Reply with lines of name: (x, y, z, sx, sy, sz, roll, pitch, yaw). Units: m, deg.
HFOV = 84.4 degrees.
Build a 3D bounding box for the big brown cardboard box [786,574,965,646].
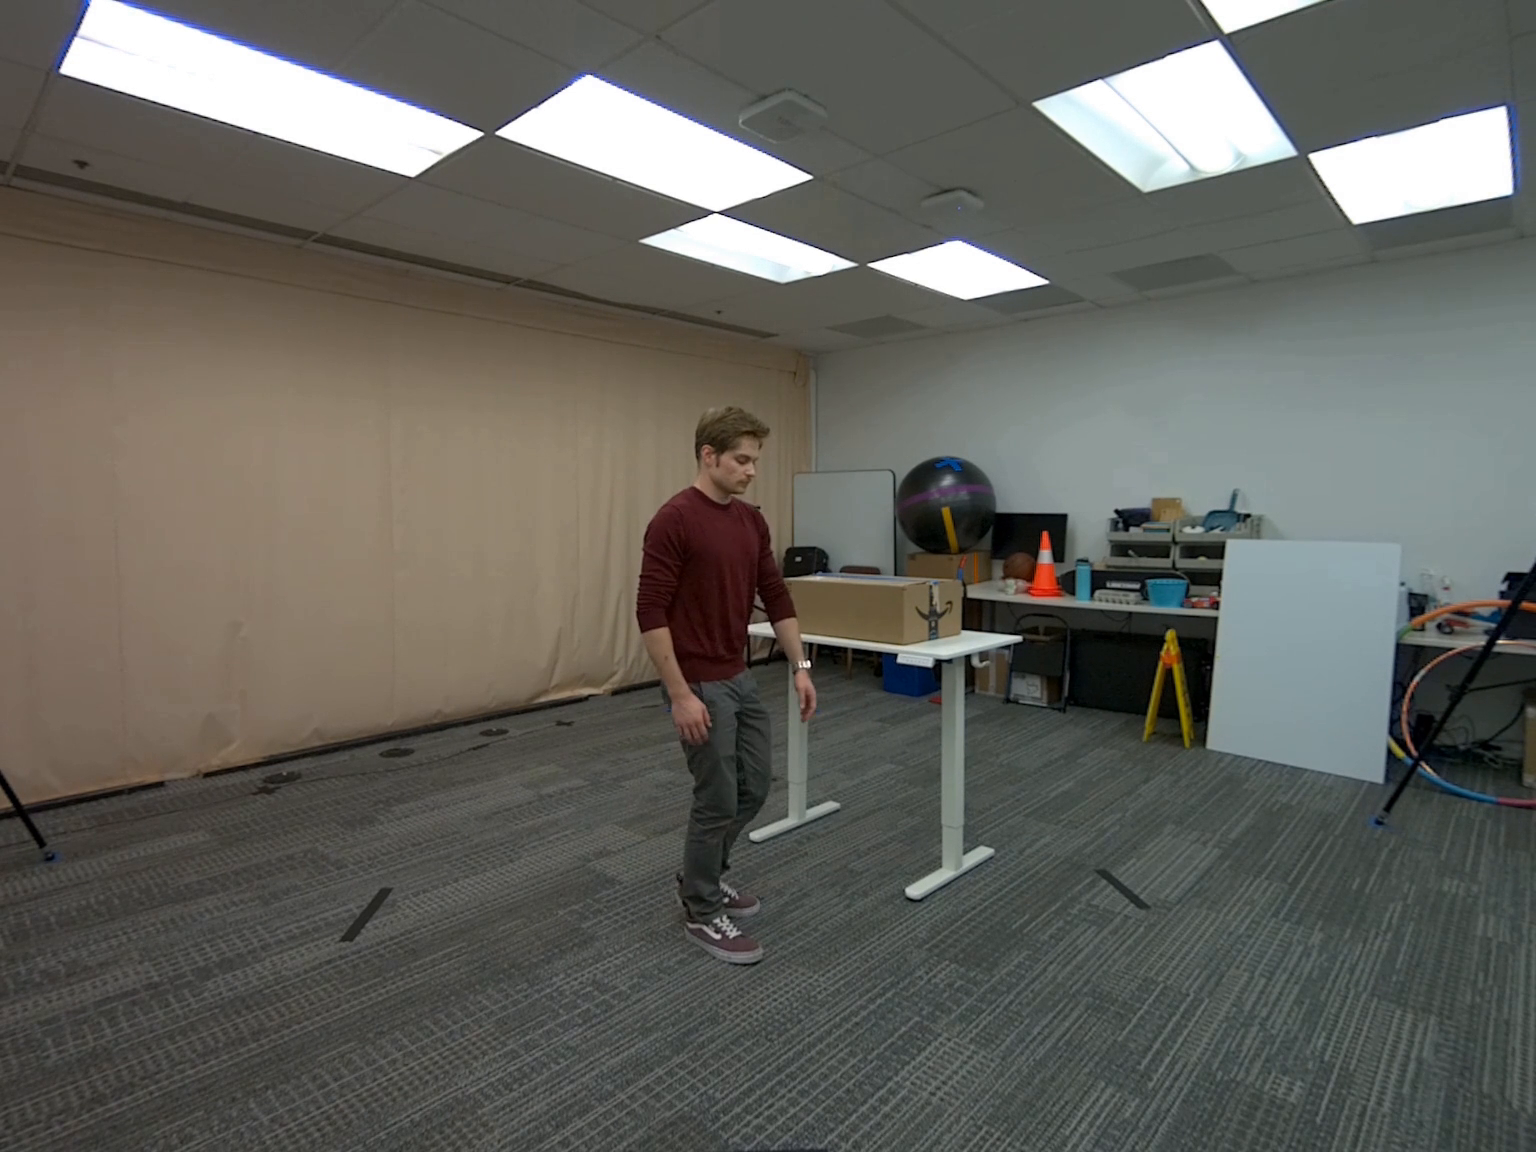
big brown cardboard box: (0.414, 0.119, 3.374, 0.609, 0.232, 0.405, 5, 6, 42)
